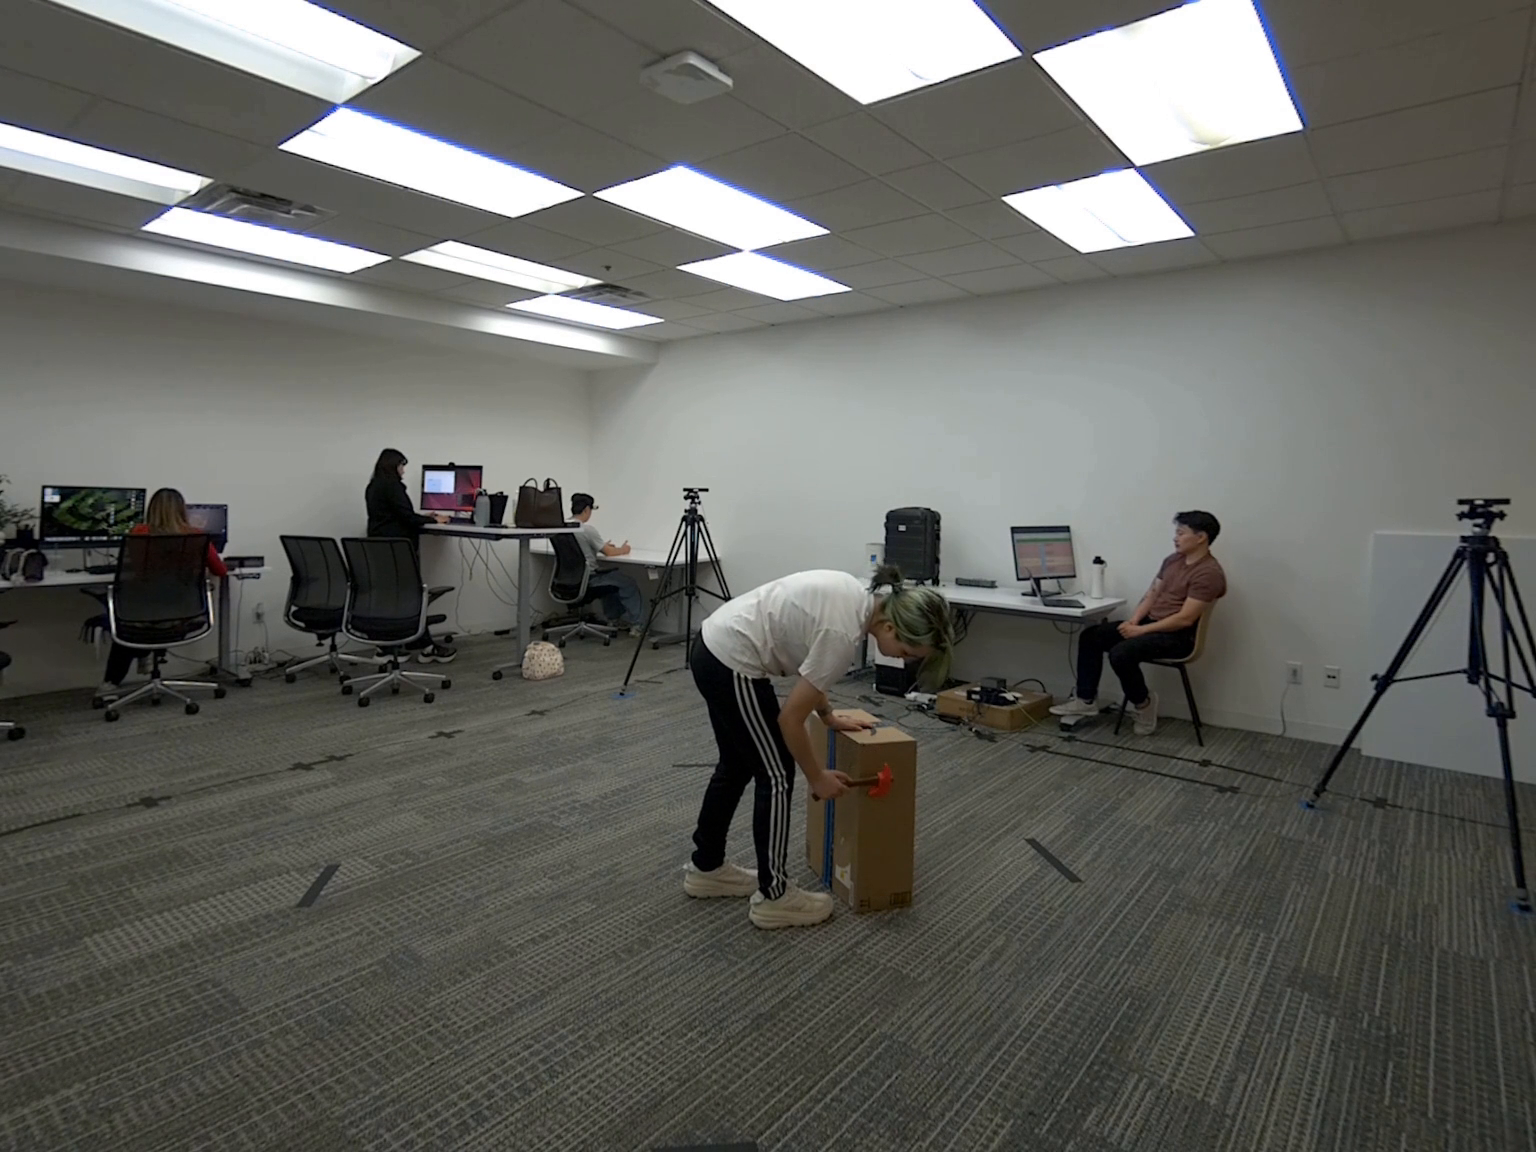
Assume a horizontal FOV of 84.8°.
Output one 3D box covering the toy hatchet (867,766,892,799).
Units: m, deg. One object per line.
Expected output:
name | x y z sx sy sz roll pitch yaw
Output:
toy hatchet | 0.257 0.712 2.775 0.271 0.127 0.030 -17 26 4
